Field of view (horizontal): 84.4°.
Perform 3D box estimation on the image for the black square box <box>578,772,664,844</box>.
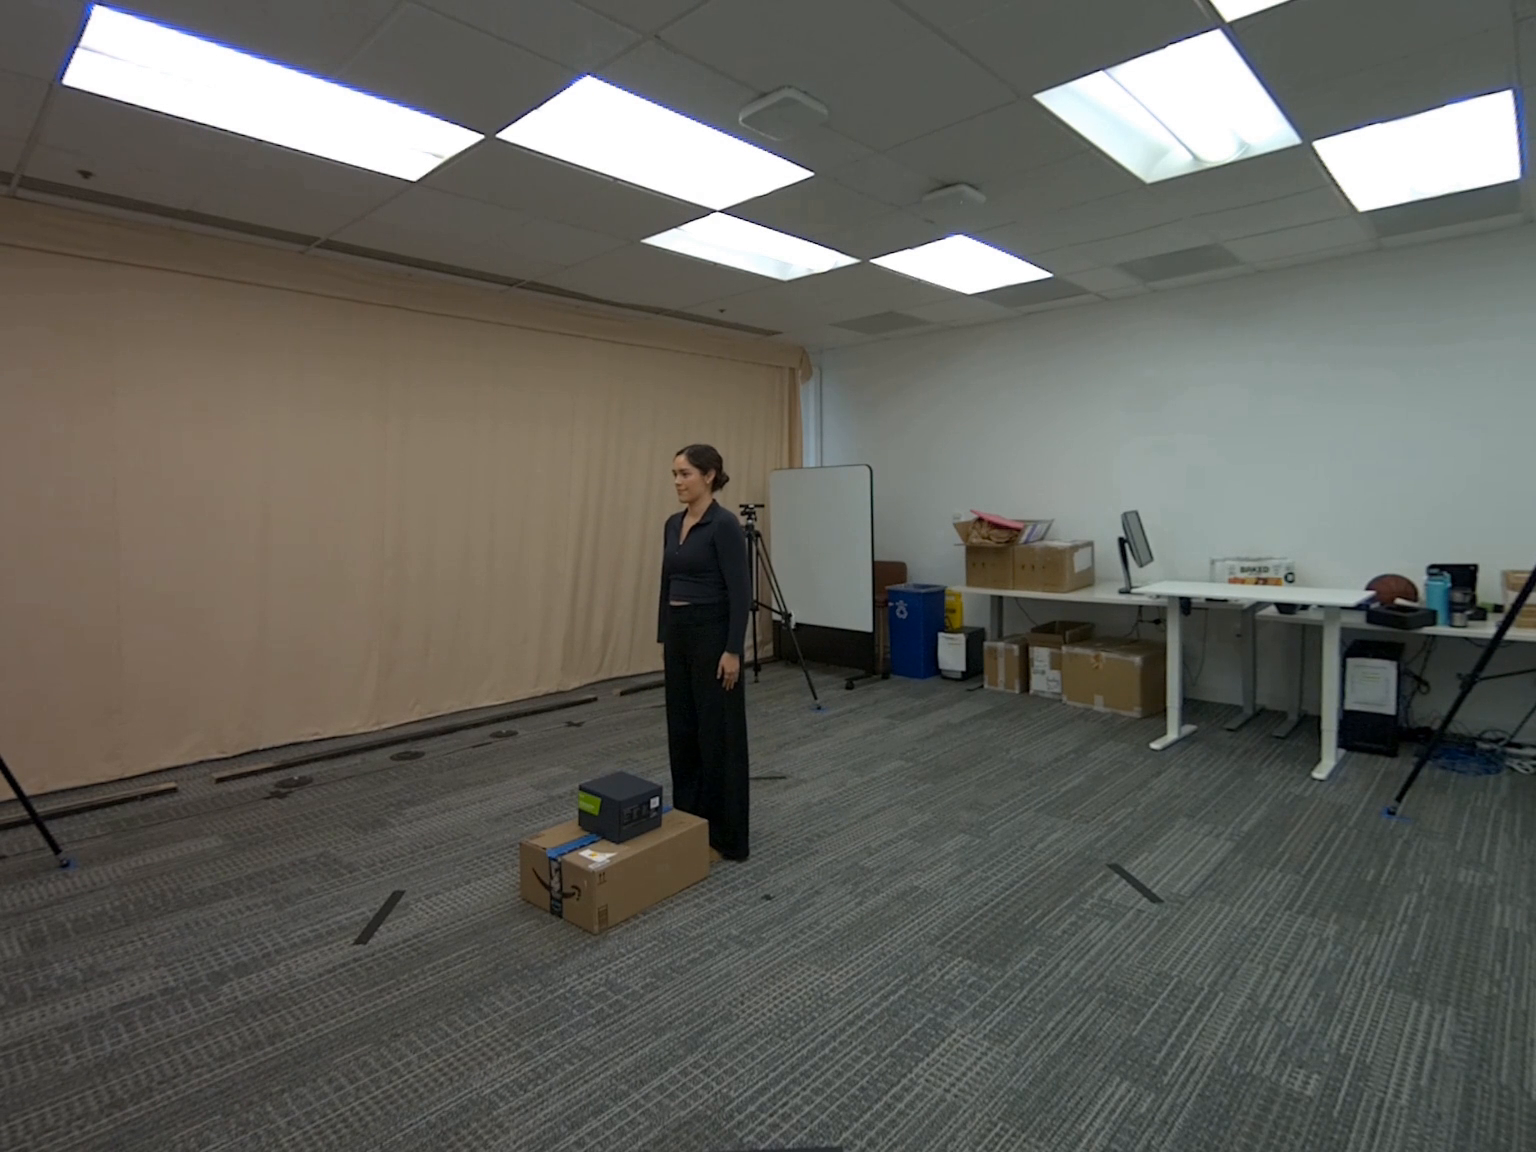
[{"bbox_3d":[-0.539,0.841,3.094,0.235,0.155,0.210,5,7,38],"label":"black square box"}]
